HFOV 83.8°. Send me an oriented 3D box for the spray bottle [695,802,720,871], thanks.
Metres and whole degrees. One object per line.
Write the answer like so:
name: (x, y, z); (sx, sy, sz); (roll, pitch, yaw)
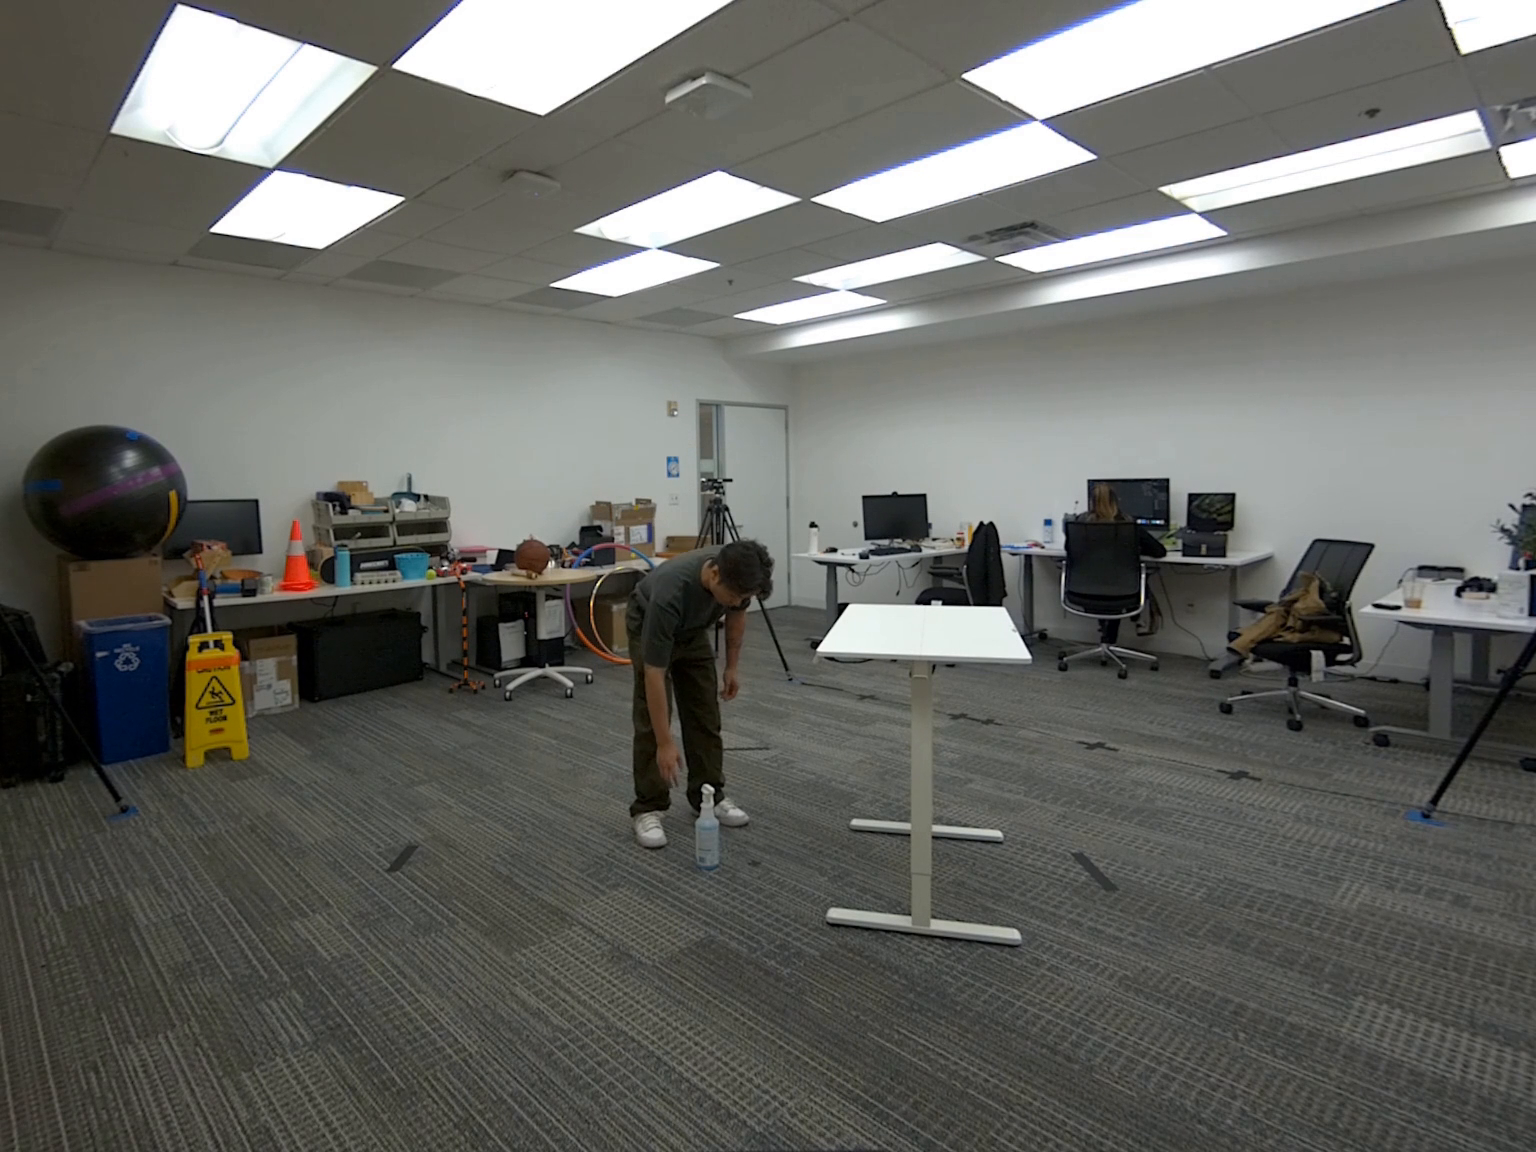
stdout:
spray bottle: (-0.222, 0.907, 3.092); (0.087, 0.296, 0.091); (-1, 6, -2)
